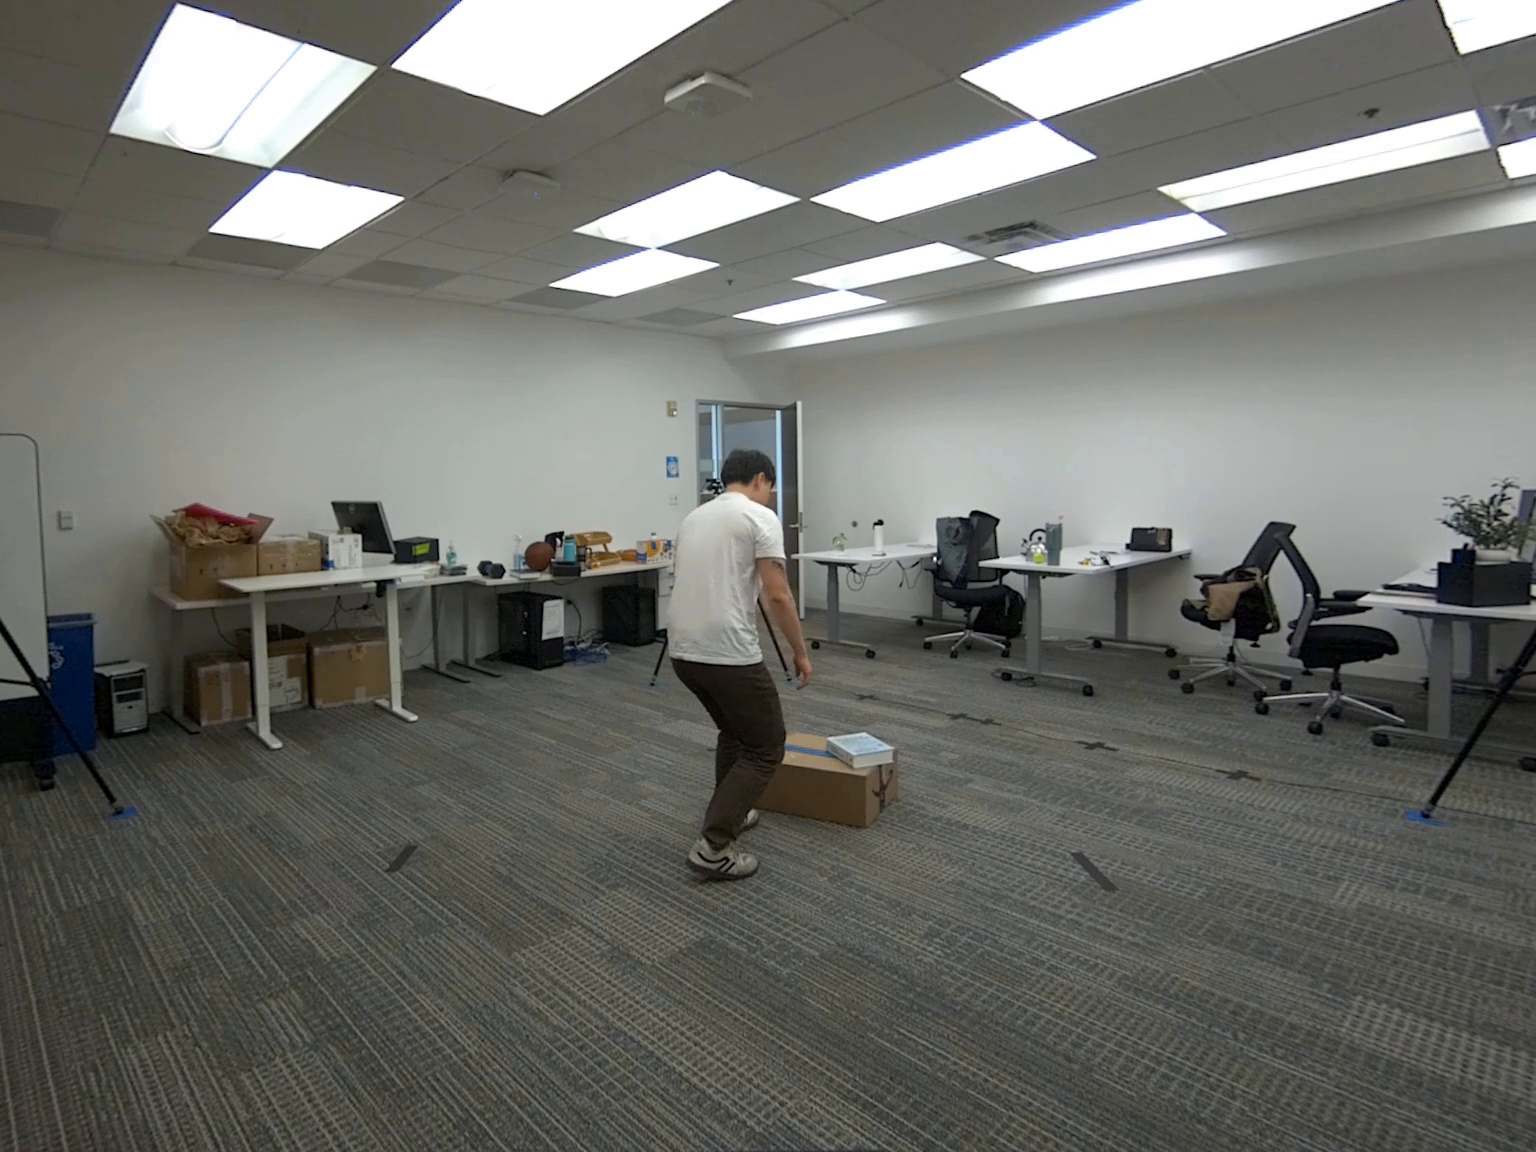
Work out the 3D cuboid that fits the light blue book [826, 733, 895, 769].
[{"bbox_3d":[0.390,0.740,3.632,0.188,0.059,0.266,-4,6,-20],"label":"light blue book"}]
